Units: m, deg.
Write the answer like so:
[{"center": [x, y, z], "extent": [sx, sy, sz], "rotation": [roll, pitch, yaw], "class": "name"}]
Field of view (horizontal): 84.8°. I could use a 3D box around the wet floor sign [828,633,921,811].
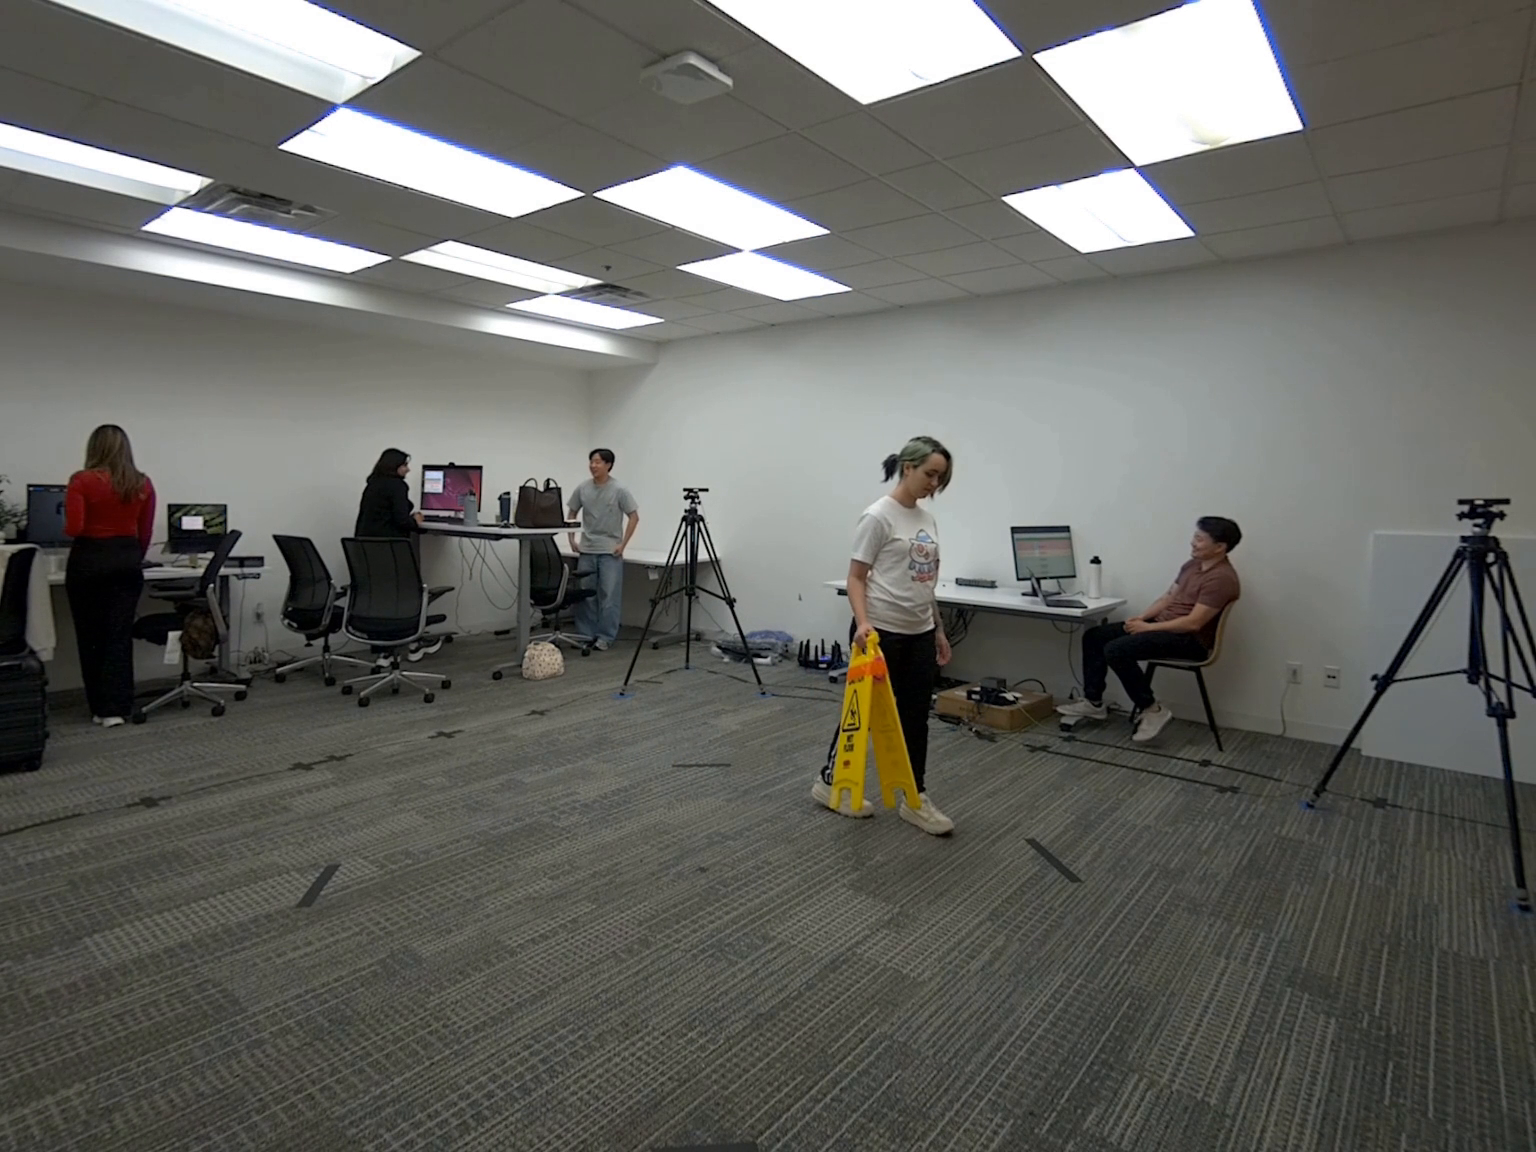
[{"center": [0.387, 0.547, 3.249], "extent": [0.285, 0.655, 0.283], "rotation": [2, -14, -17], "class": "wet floor sign"}]
